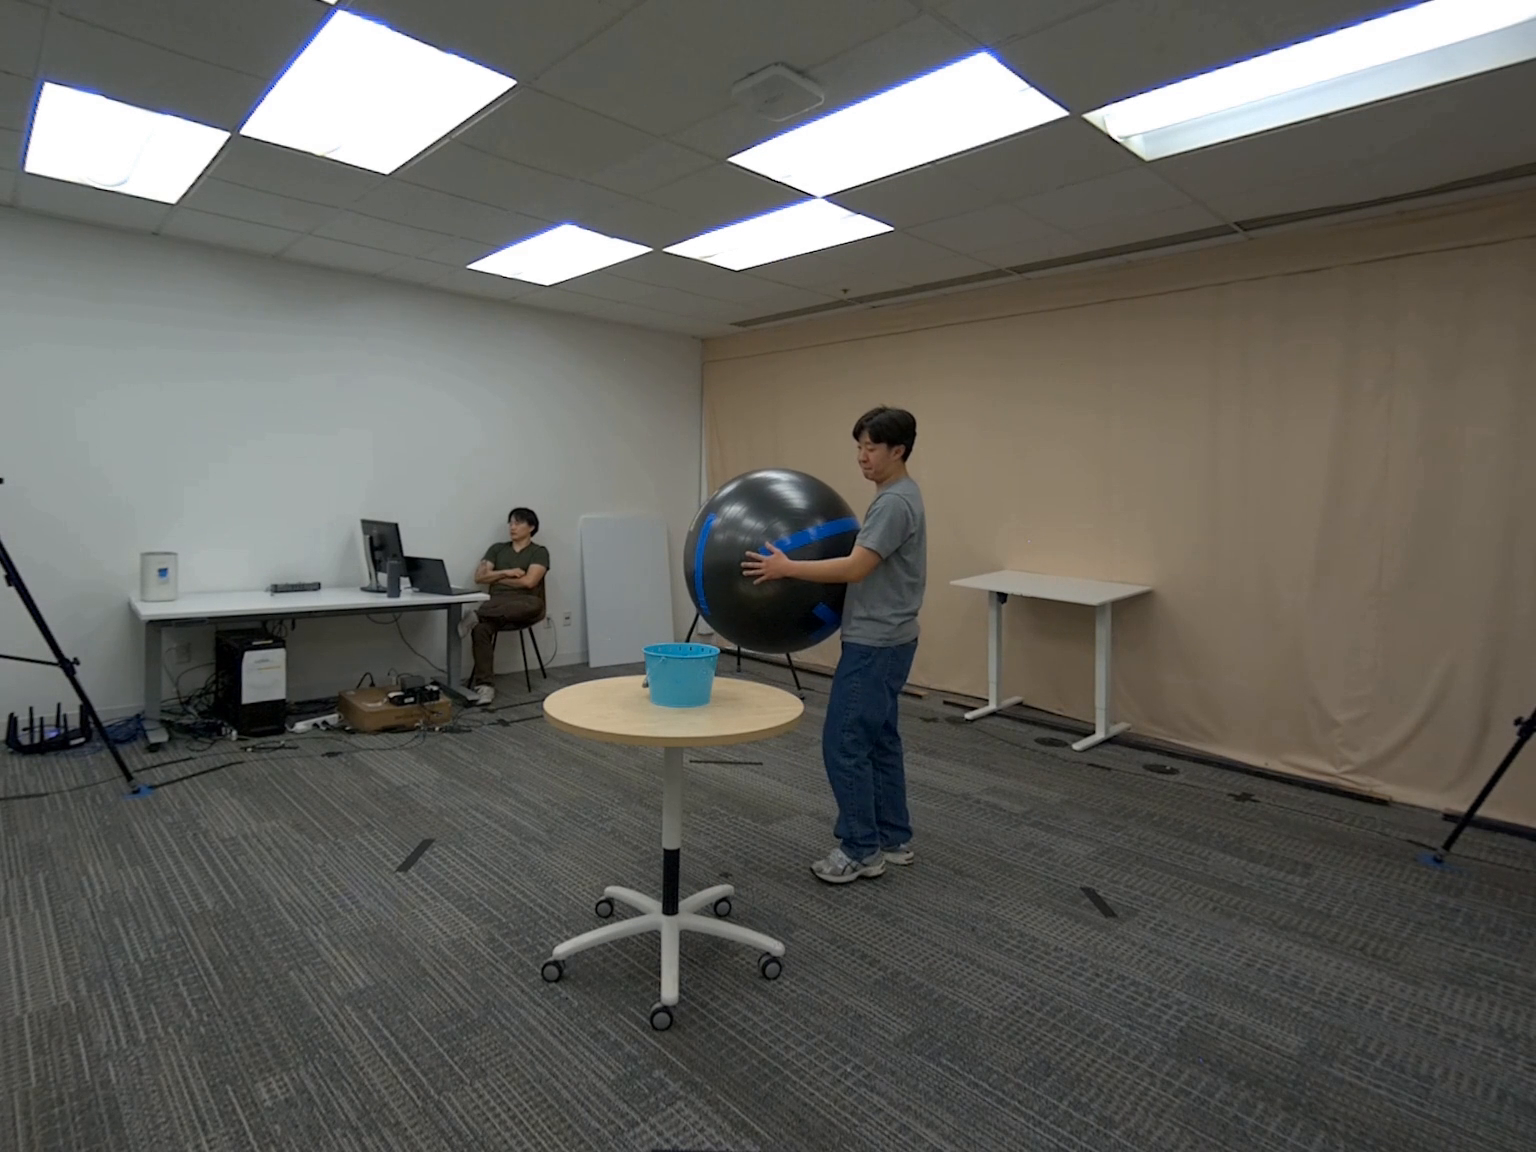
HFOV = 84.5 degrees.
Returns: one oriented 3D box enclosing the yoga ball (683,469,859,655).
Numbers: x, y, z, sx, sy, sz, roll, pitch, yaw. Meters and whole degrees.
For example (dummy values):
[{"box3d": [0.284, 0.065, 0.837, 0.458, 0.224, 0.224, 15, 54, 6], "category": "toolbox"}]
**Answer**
[{"box3d": [0.019, -0.055, 3.485, 0.757, 0.756, 0.761, 1, 4, -1], "category": "yoga ball"}]
